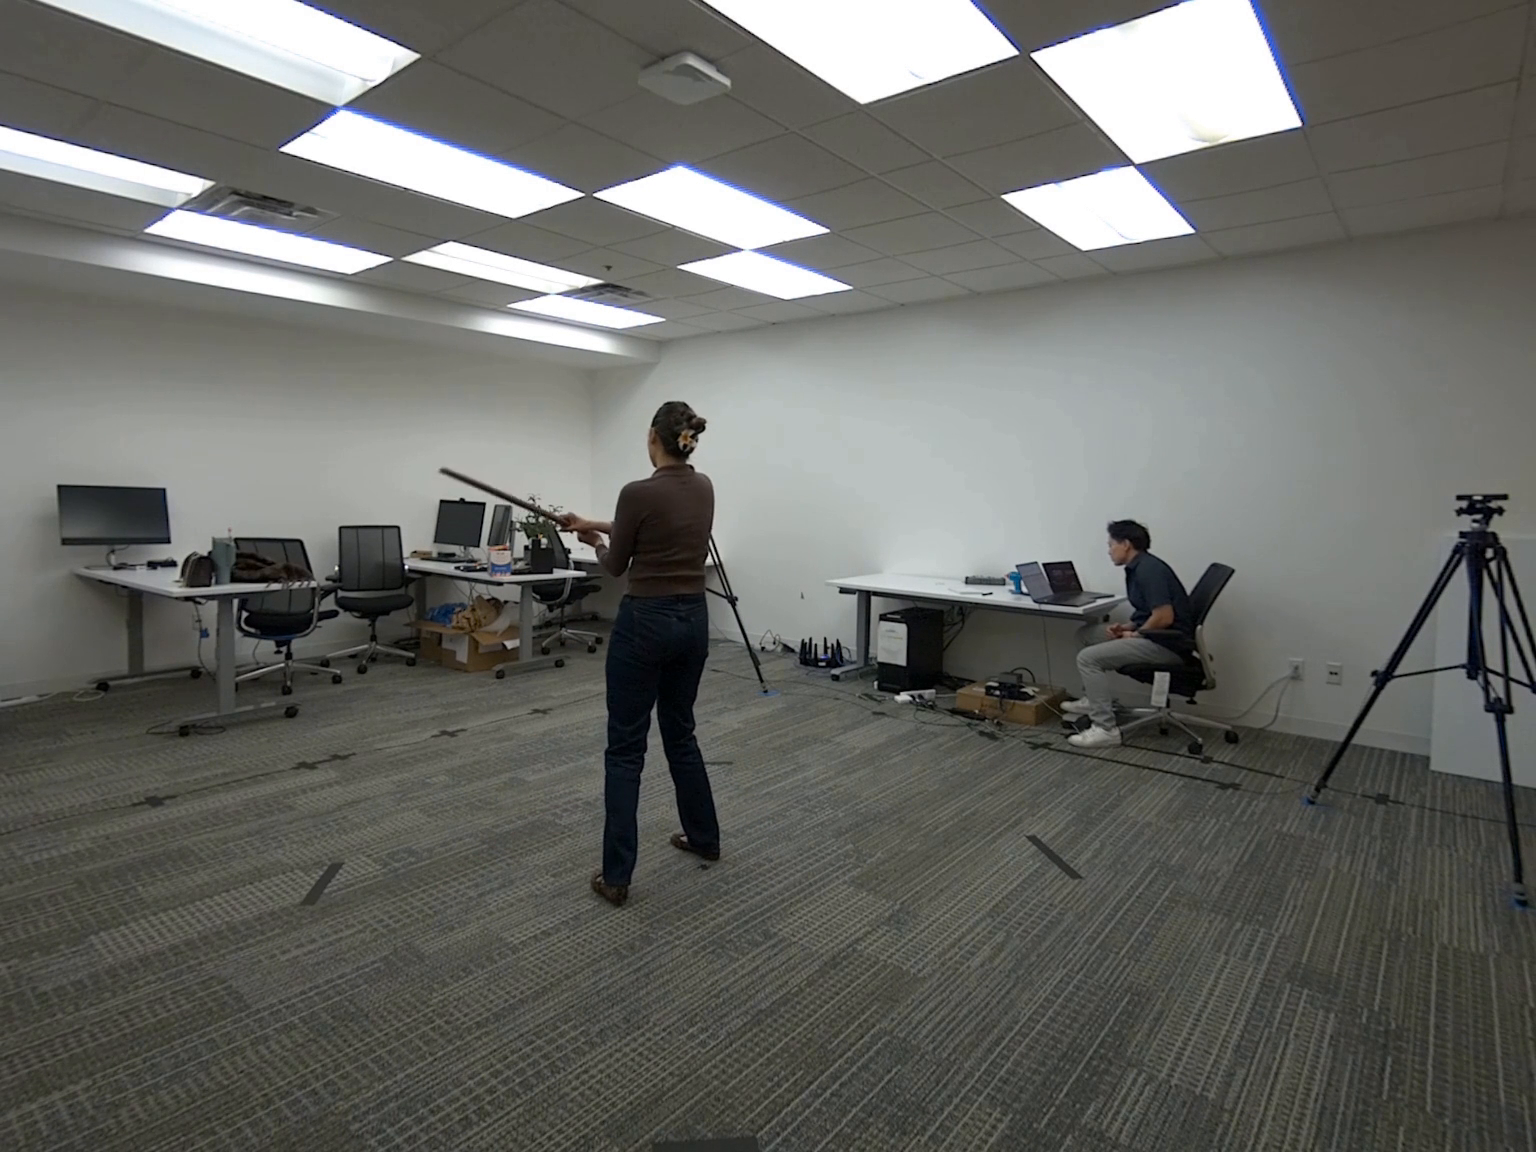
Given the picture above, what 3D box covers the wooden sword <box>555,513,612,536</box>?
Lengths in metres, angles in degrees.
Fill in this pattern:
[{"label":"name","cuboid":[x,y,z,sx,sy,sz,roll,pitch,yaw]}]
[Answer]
[{"label":"wooden sword","cuboid":[-0.826,-0.233,2.918,0.053,0.024,0.996,48,6,18]}]
